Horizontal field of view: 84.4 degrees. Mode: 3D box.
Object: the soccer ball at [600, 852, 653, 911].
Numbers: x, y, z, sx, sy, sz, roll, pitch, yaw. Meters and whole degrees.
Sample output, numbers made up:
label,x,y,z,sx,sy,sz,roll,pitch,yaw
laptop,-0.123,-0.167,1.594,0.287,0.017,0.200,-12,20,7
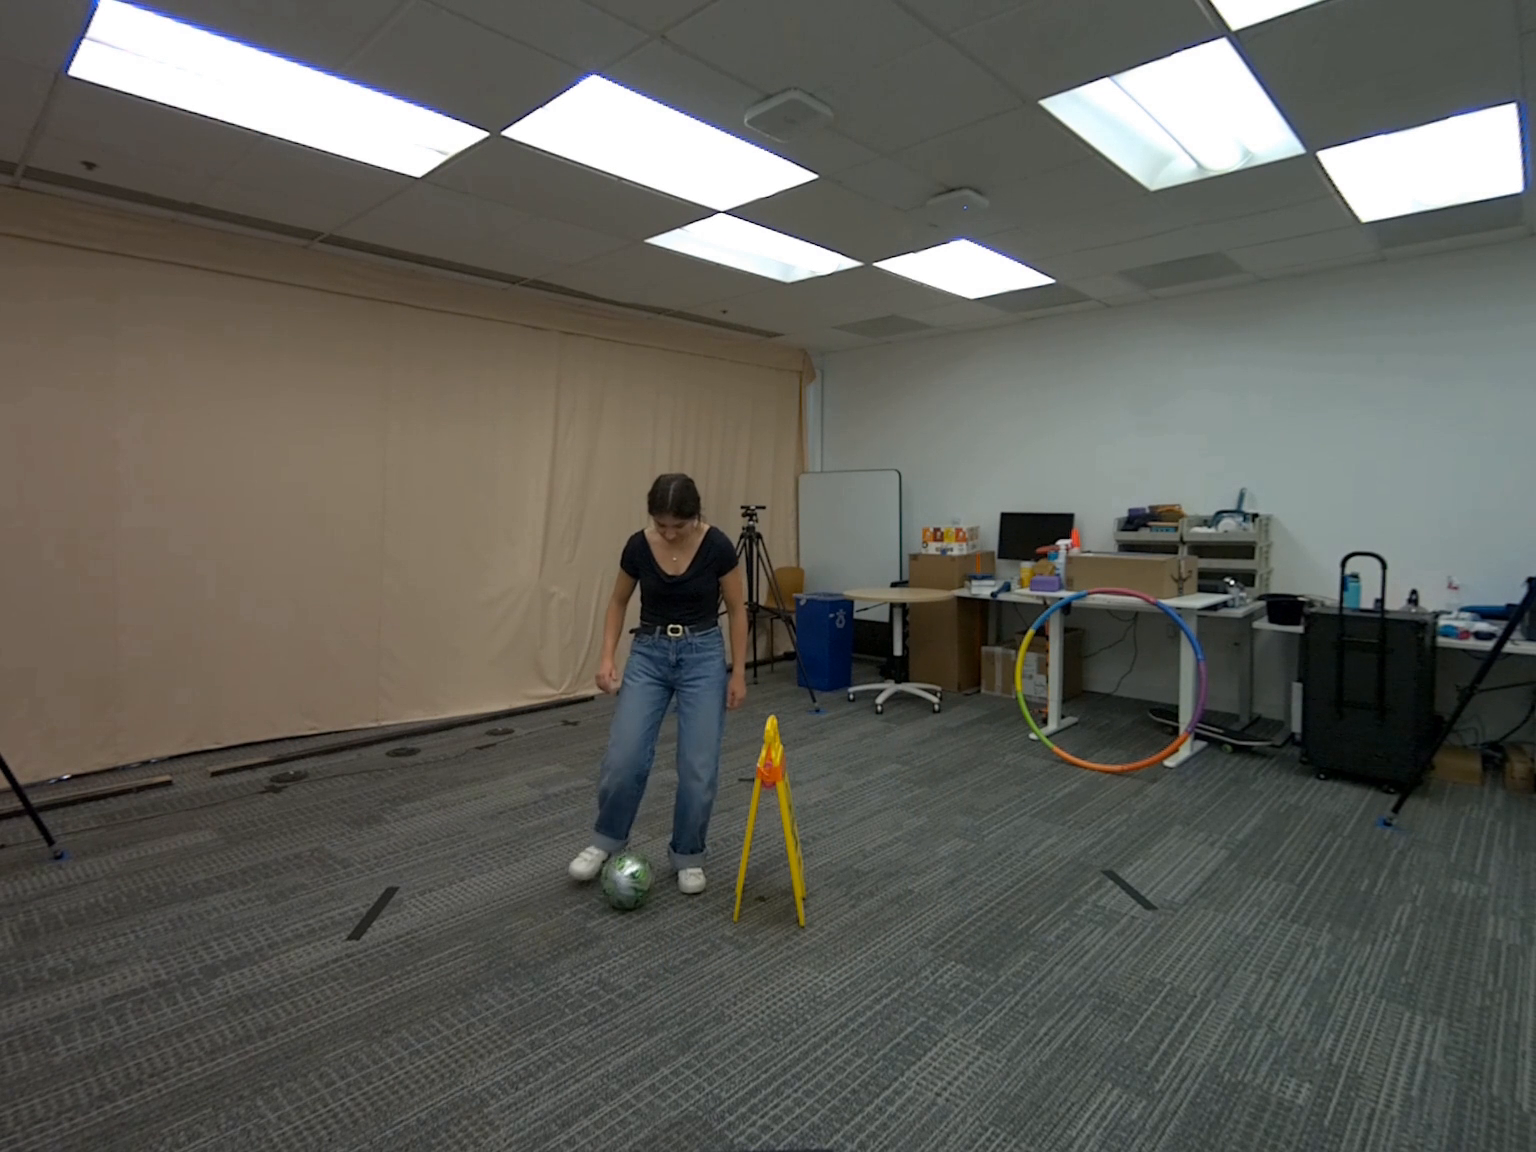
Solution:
label,x,y,z,sx,sy,sz,roll,pitch,yaw
soccer ball,-0.477,1.065,2.934,0.187,0.187,0.188,0,4,-2
